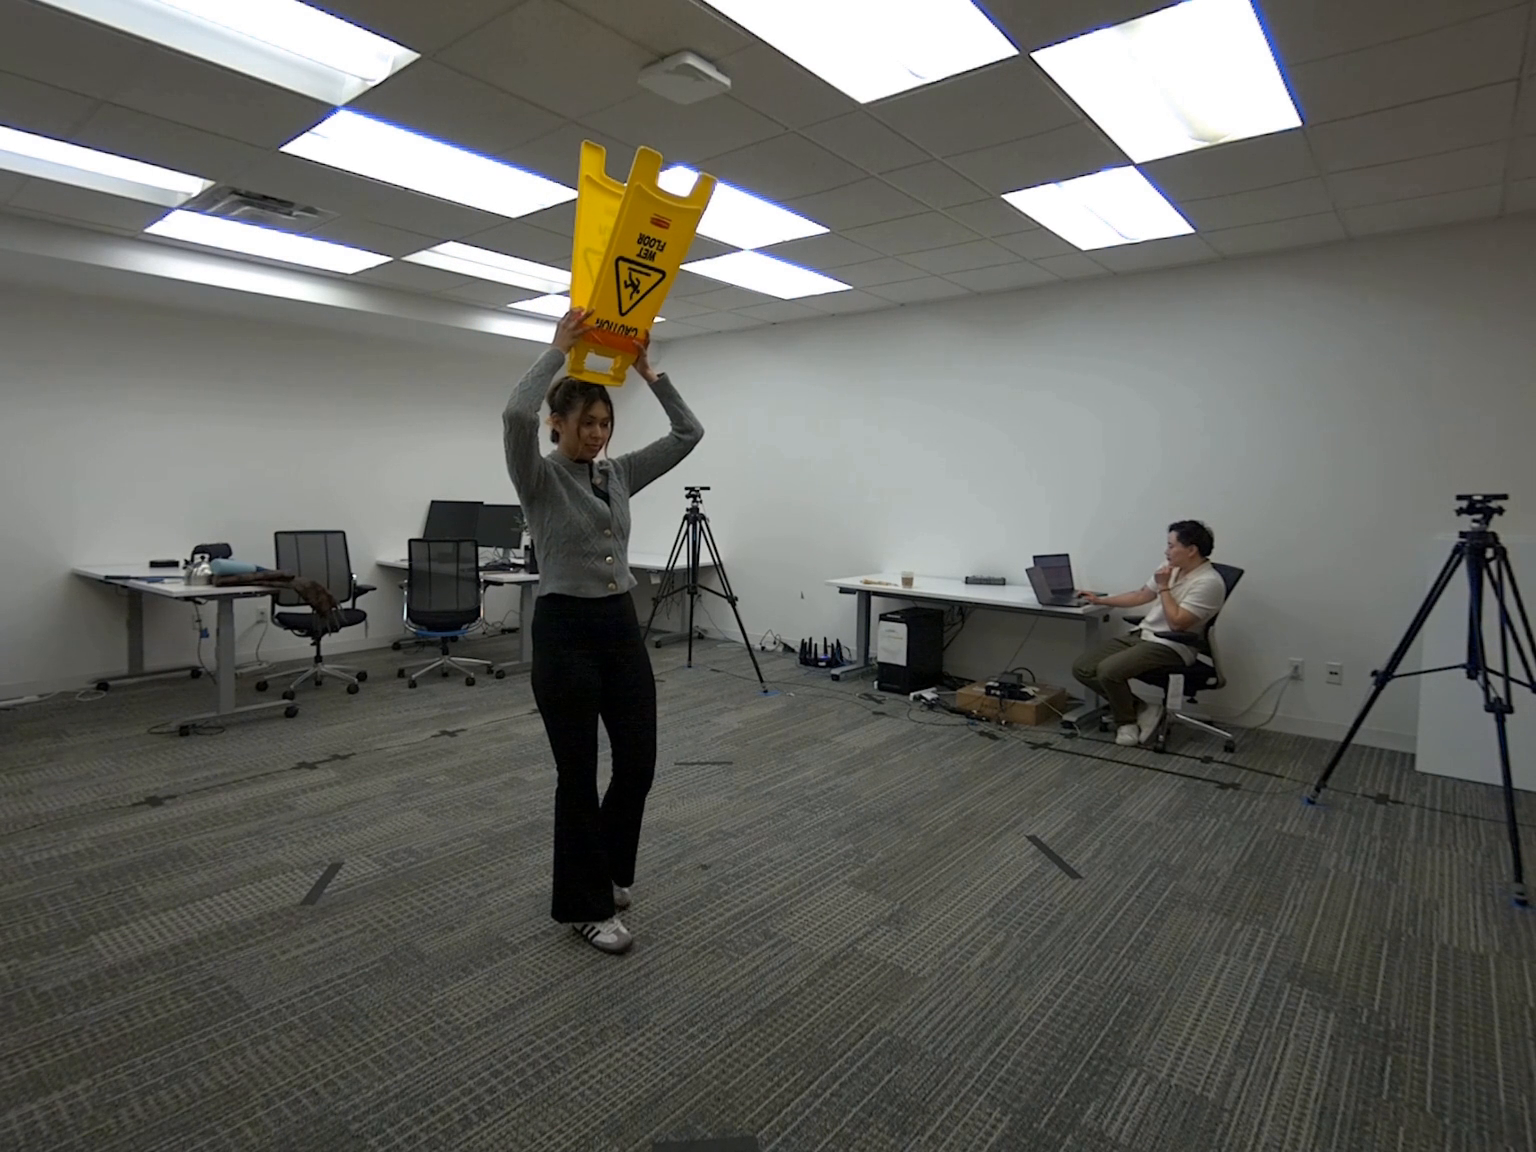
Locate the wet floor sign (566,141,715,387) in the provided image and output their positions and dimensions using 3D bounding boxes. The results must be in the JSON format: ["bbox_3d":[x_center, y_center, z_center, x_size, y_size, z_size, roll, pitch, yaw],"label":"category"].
[{"bbox_3d":[-0.436,-0.870,2.464,0.273,0.640,0.302,4,21,-45],"label":"wet floor sign"}]
